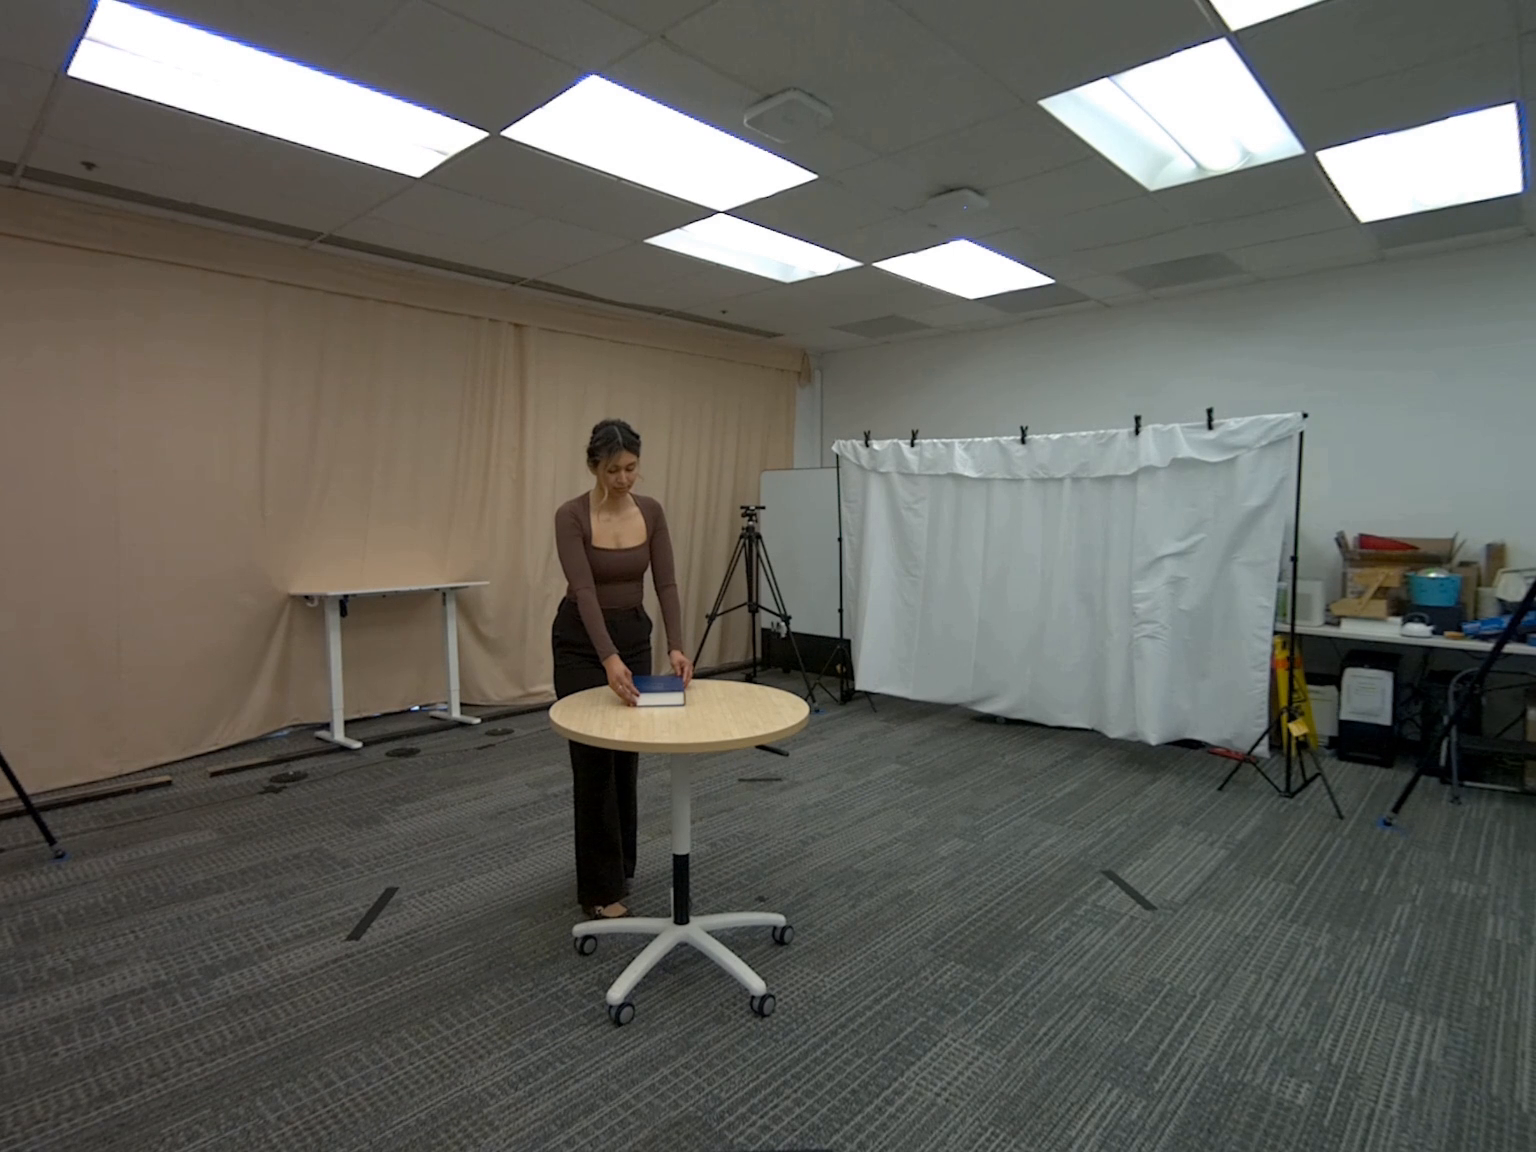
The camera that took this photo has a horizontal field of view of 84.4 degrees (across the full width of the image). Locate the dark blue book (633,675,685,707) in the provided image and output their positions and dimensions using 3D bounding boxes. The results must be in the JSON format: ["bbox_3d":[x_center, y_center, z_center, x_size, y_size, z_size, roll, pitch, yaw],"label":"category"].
[{"bbox_3d":[-0.341,0.364,2.625,0.162,0.045,0.247,-1,3,-6],"label":"dark blue book"}]
